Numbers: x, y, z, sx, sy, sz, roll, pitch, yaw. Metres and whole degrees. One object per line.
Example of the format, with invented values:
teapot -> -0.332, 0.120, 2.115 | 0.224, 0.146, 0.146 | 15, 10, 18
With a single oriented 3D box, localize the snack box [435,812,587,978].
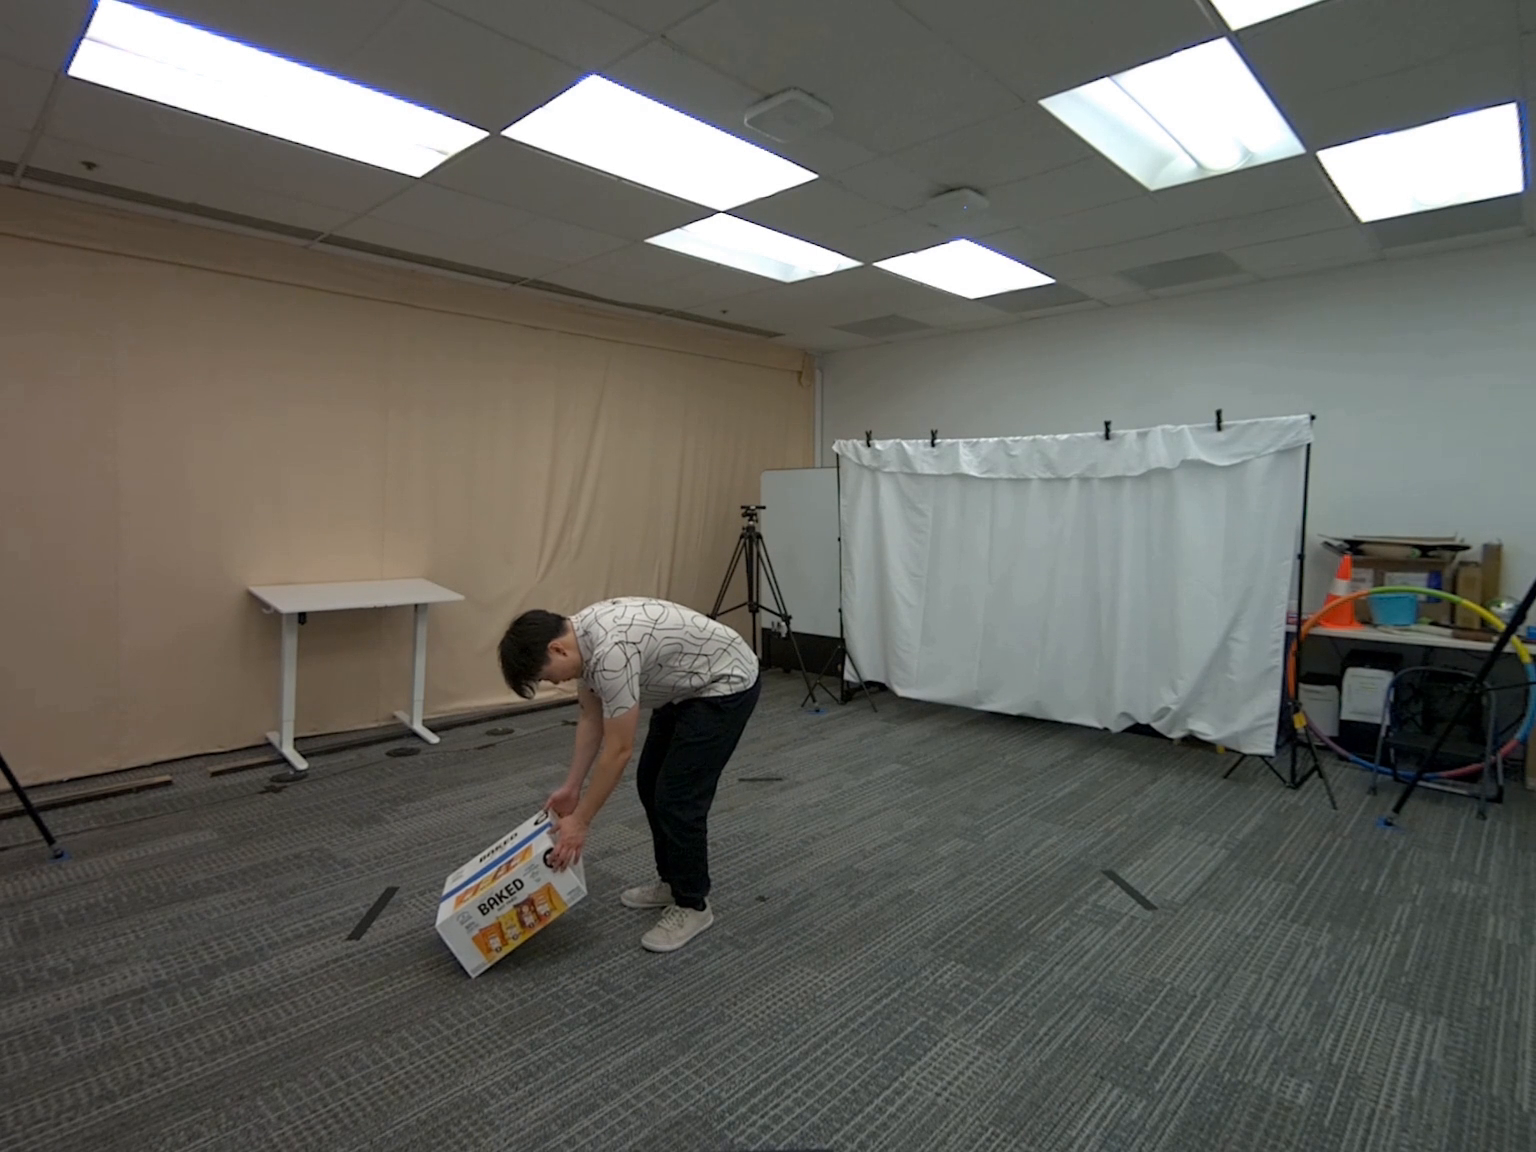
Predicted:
snack box -> -0.807, 0.987, 2.666 | 0.403, 0.203, 0.346 | -34, 12, -9
